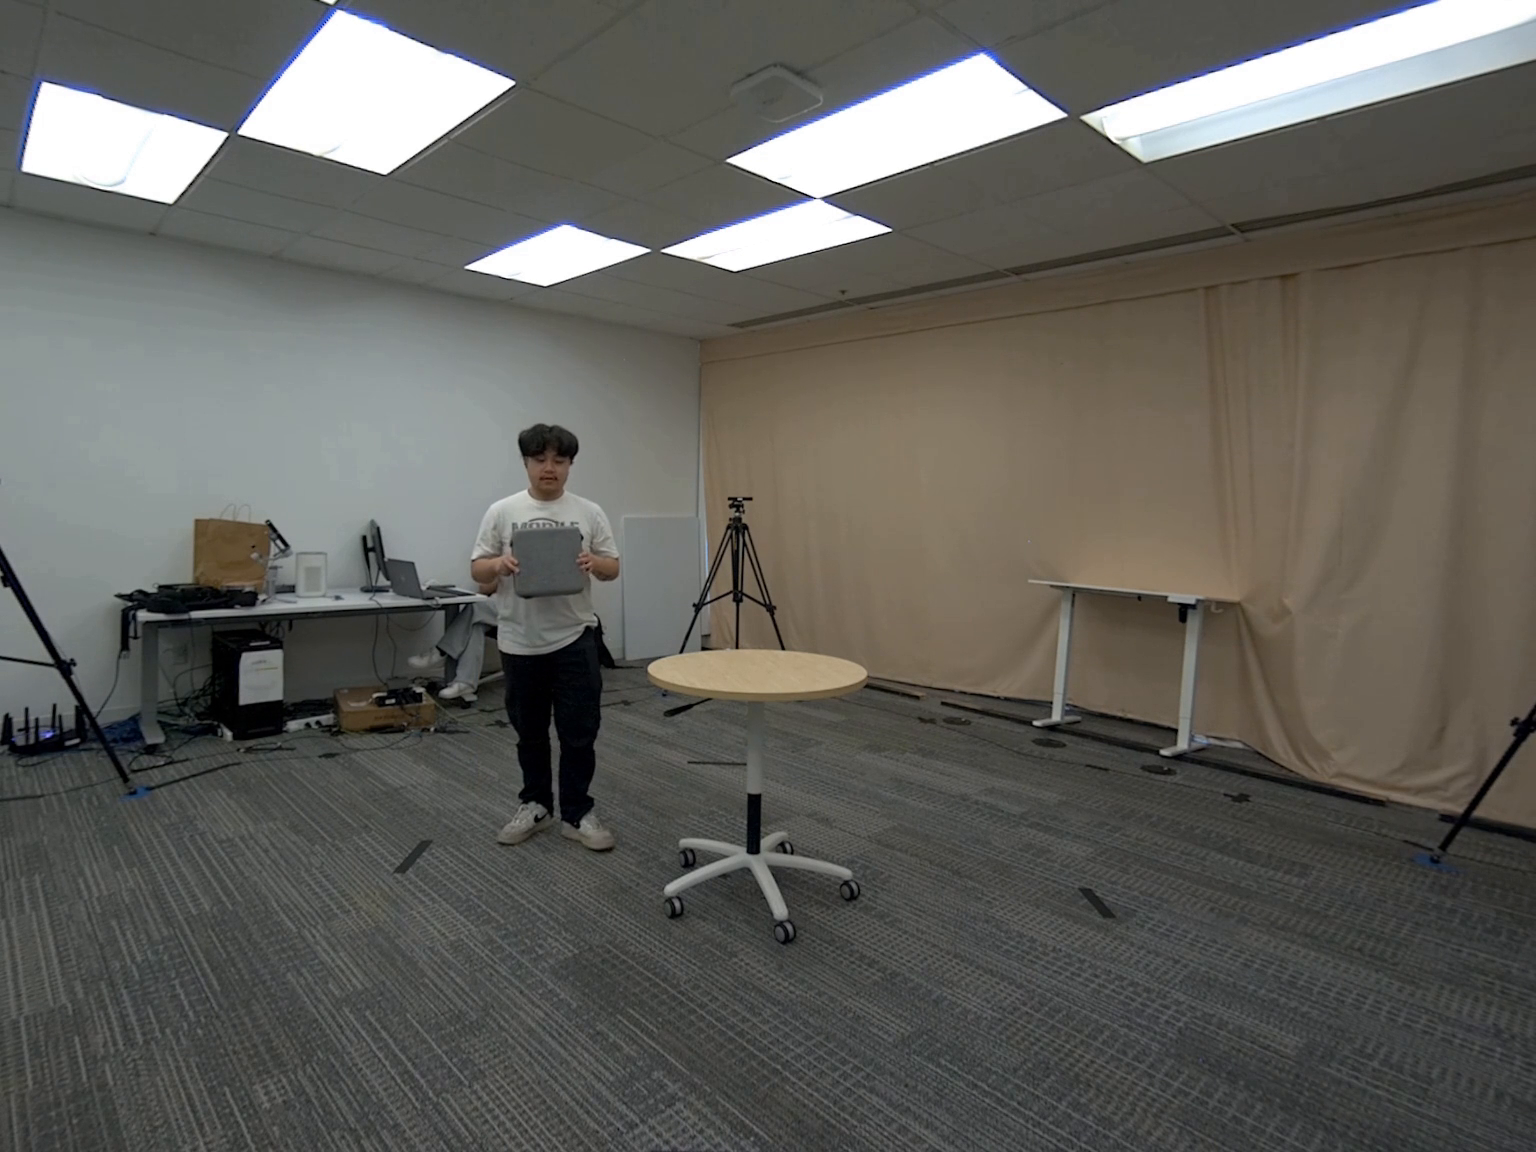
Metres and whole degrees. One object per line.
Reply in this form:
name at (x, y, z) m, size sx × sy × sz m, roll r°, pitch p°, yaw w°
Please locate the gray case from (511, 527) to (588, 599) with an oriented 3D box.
gray case at (-0.833, -0.058, 3.118) m, size 0.254 × 0.260 × 0.105 m, roll -5°, pitch 0°, yaw -16°
